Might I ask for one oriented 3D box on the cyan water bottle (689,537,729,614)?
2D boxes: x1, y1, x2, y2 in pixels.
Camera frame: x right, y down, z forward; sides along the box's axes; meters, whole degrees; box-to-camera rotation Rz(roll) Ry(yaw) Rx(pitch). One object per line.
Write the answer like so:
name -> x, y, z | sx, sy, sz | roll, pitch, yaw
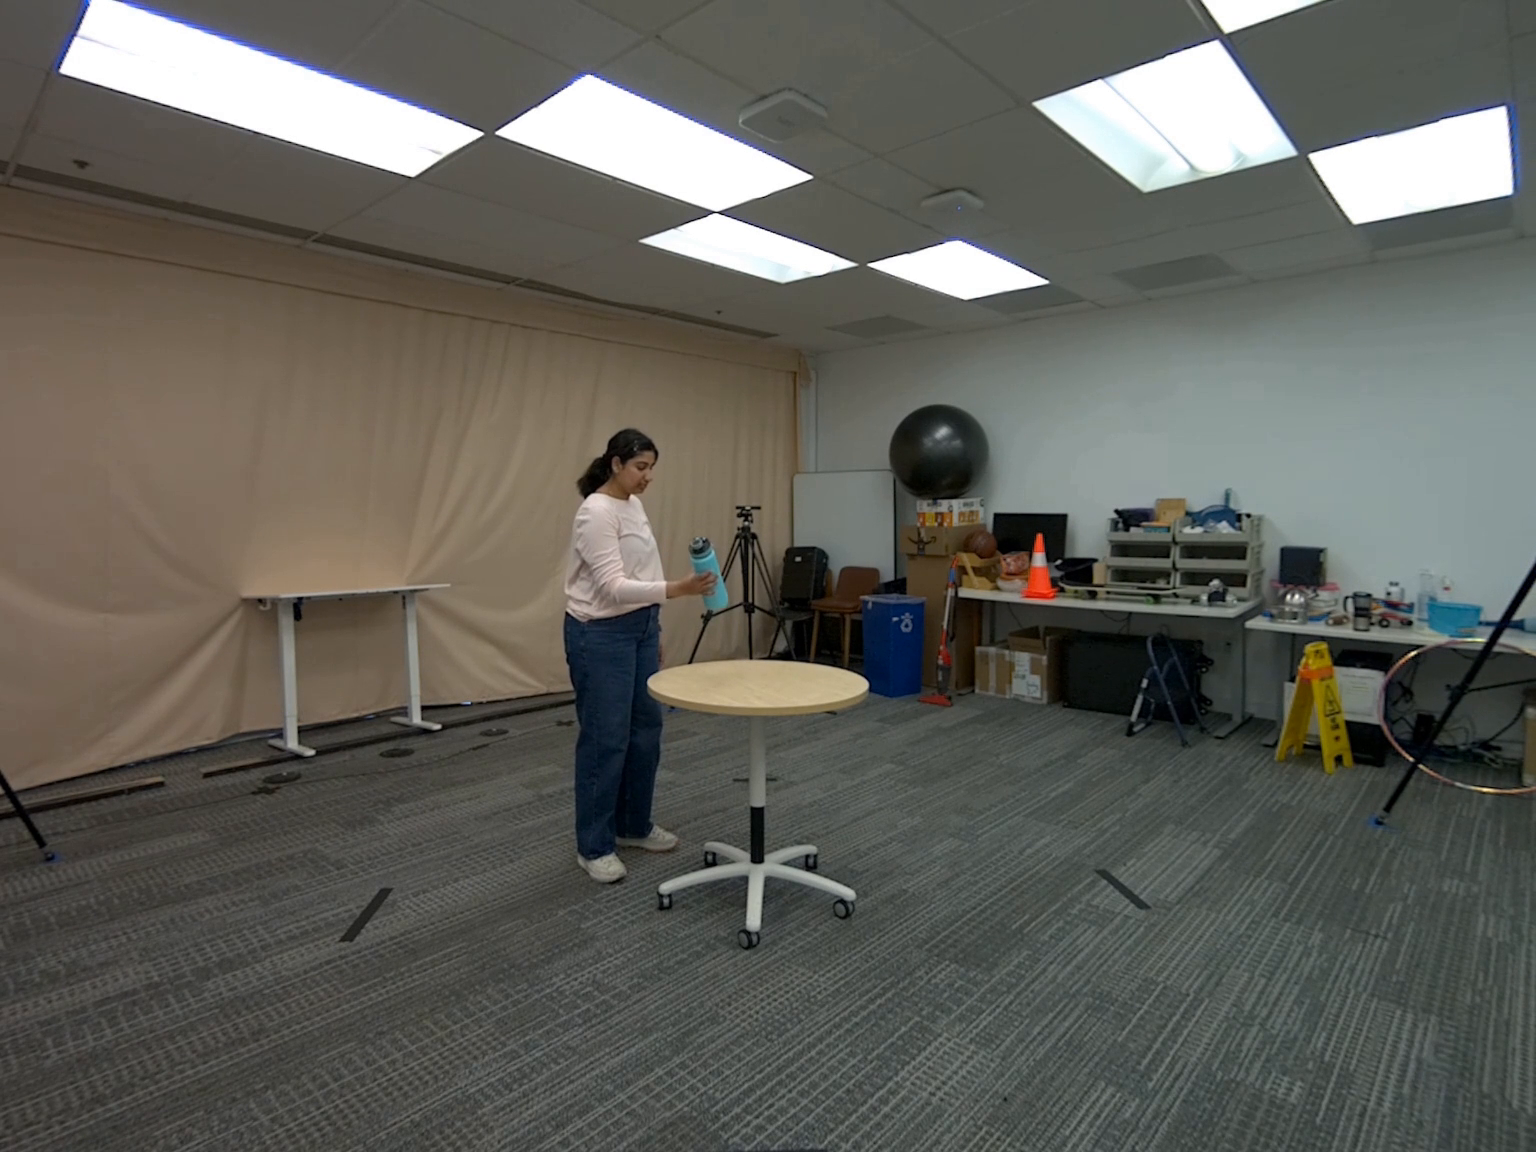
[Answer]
cyan water bottle -> -0.218, -0.013, 2.992 | 0.093, 0.277, 0.094 | -10, 31, 4
